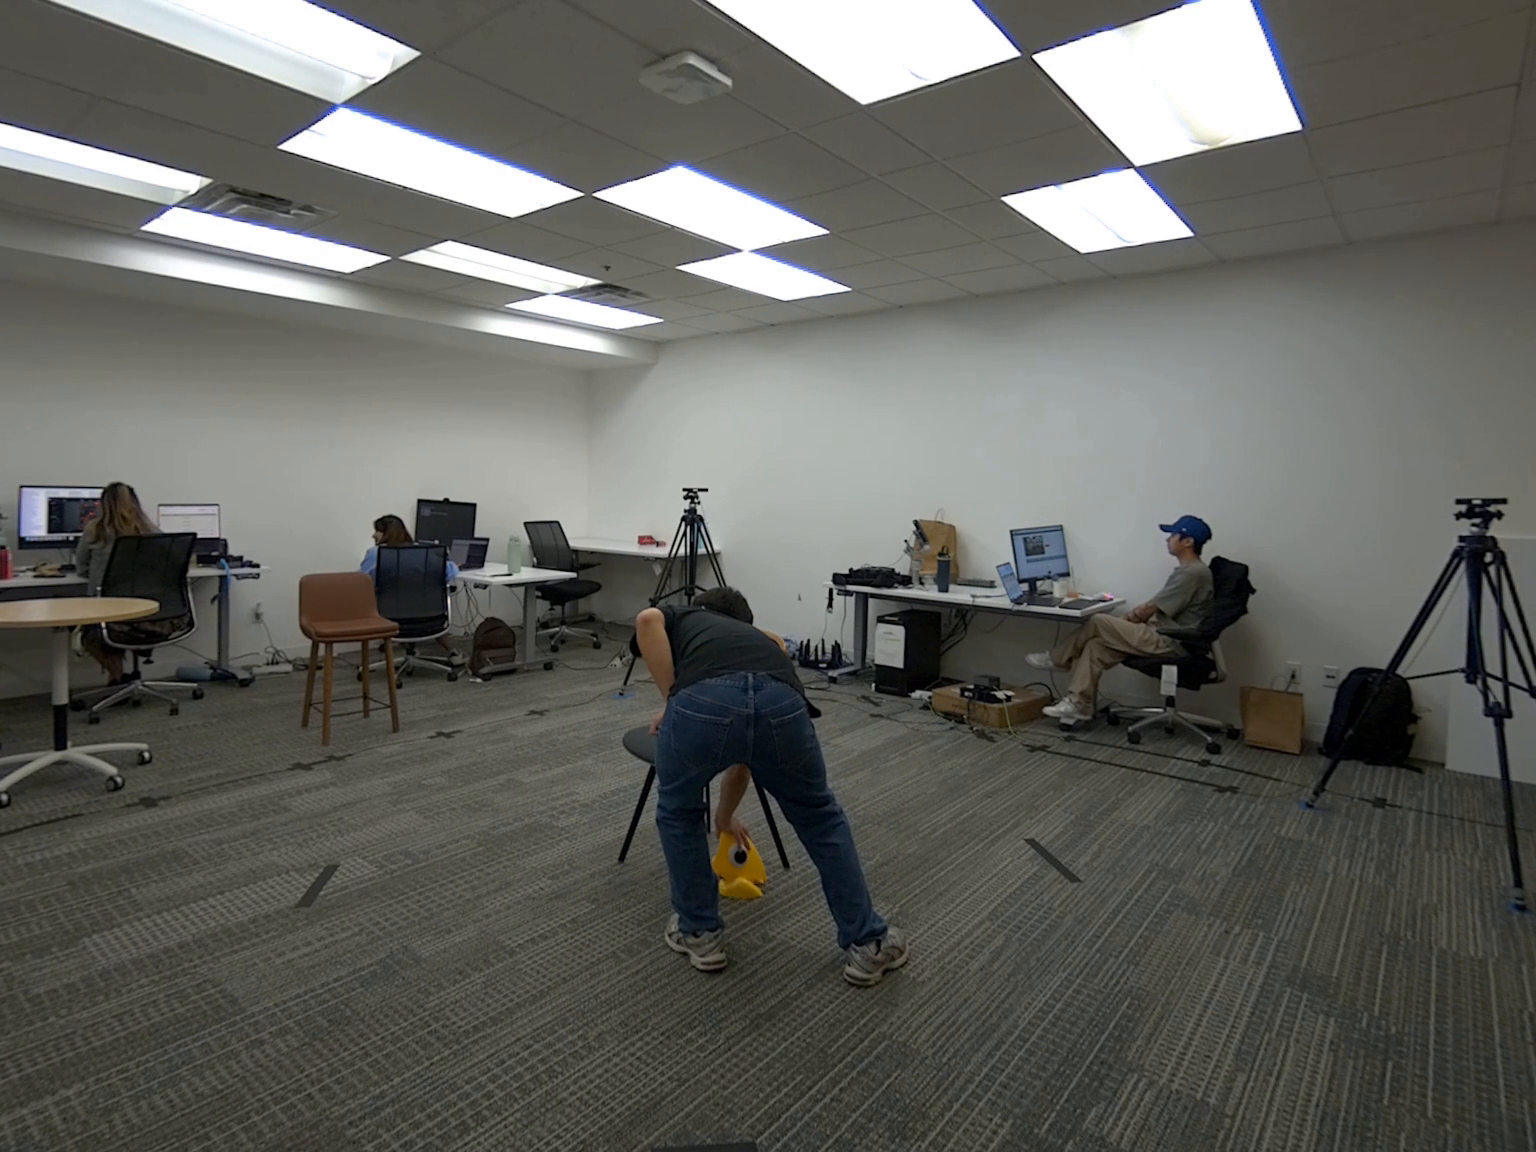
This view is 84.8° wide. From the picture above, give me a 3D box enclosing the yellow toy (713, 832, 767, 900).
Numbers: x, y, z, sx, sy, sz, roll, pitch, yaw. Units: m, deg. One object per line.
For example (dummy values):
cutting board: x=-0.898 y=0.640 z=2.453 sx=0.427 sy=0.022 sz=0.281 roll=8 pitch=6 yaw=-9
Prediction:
yellow toy: x=-0.103 y=0.975 z=2.987 sx=0.195 sy=0.230 sz=0.203 roll=2 pitch=3 yaw=10
